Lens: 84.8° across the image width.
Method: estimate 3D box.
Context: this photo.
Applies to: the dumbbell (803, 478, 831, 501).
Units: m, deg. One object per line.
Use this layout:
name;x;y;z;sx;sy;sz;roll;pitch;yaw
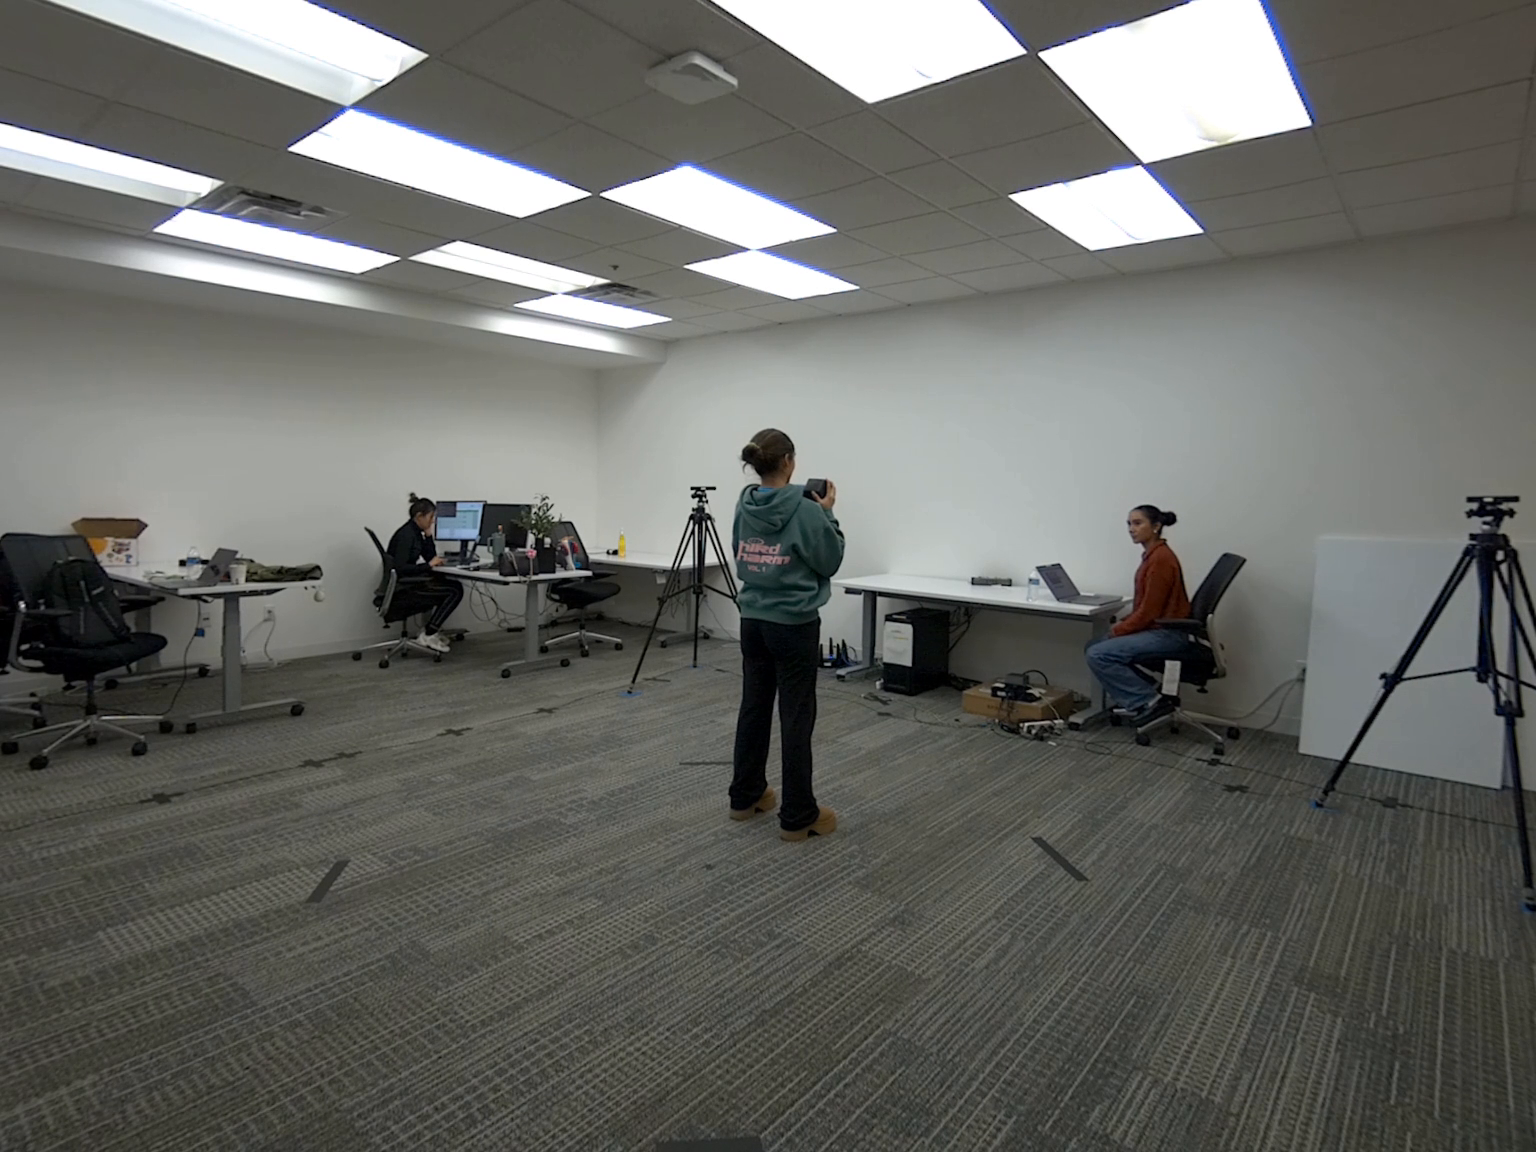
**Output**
dumbbell;0.113;-0.360;3.590;0.304;0.124;0.104;7;-26;37
